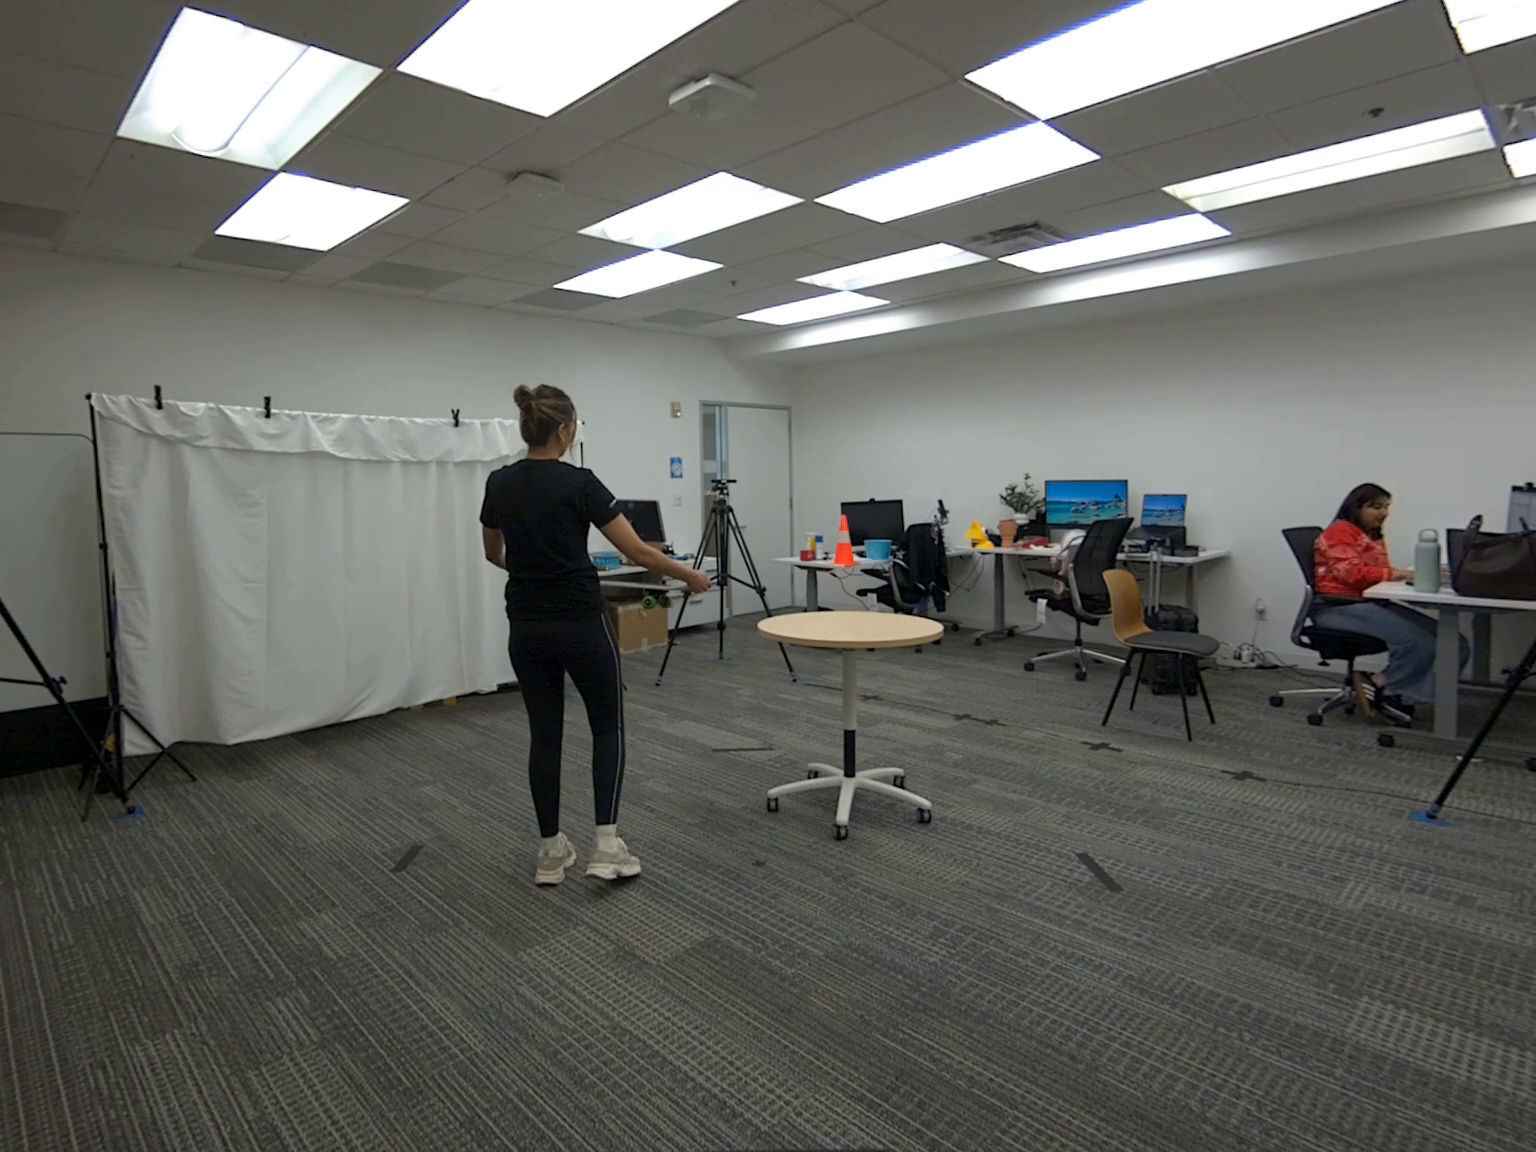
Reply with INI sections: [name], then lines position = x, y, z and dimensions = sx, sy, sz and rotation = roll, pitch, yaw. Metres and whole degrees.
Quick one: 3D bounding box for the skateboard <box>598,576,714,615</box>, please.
[skateboard]
position = -0.621, 0.060, 3.353
dimensions = 0.801, 0.111, 0.189
rotation = 4, -3, 21
